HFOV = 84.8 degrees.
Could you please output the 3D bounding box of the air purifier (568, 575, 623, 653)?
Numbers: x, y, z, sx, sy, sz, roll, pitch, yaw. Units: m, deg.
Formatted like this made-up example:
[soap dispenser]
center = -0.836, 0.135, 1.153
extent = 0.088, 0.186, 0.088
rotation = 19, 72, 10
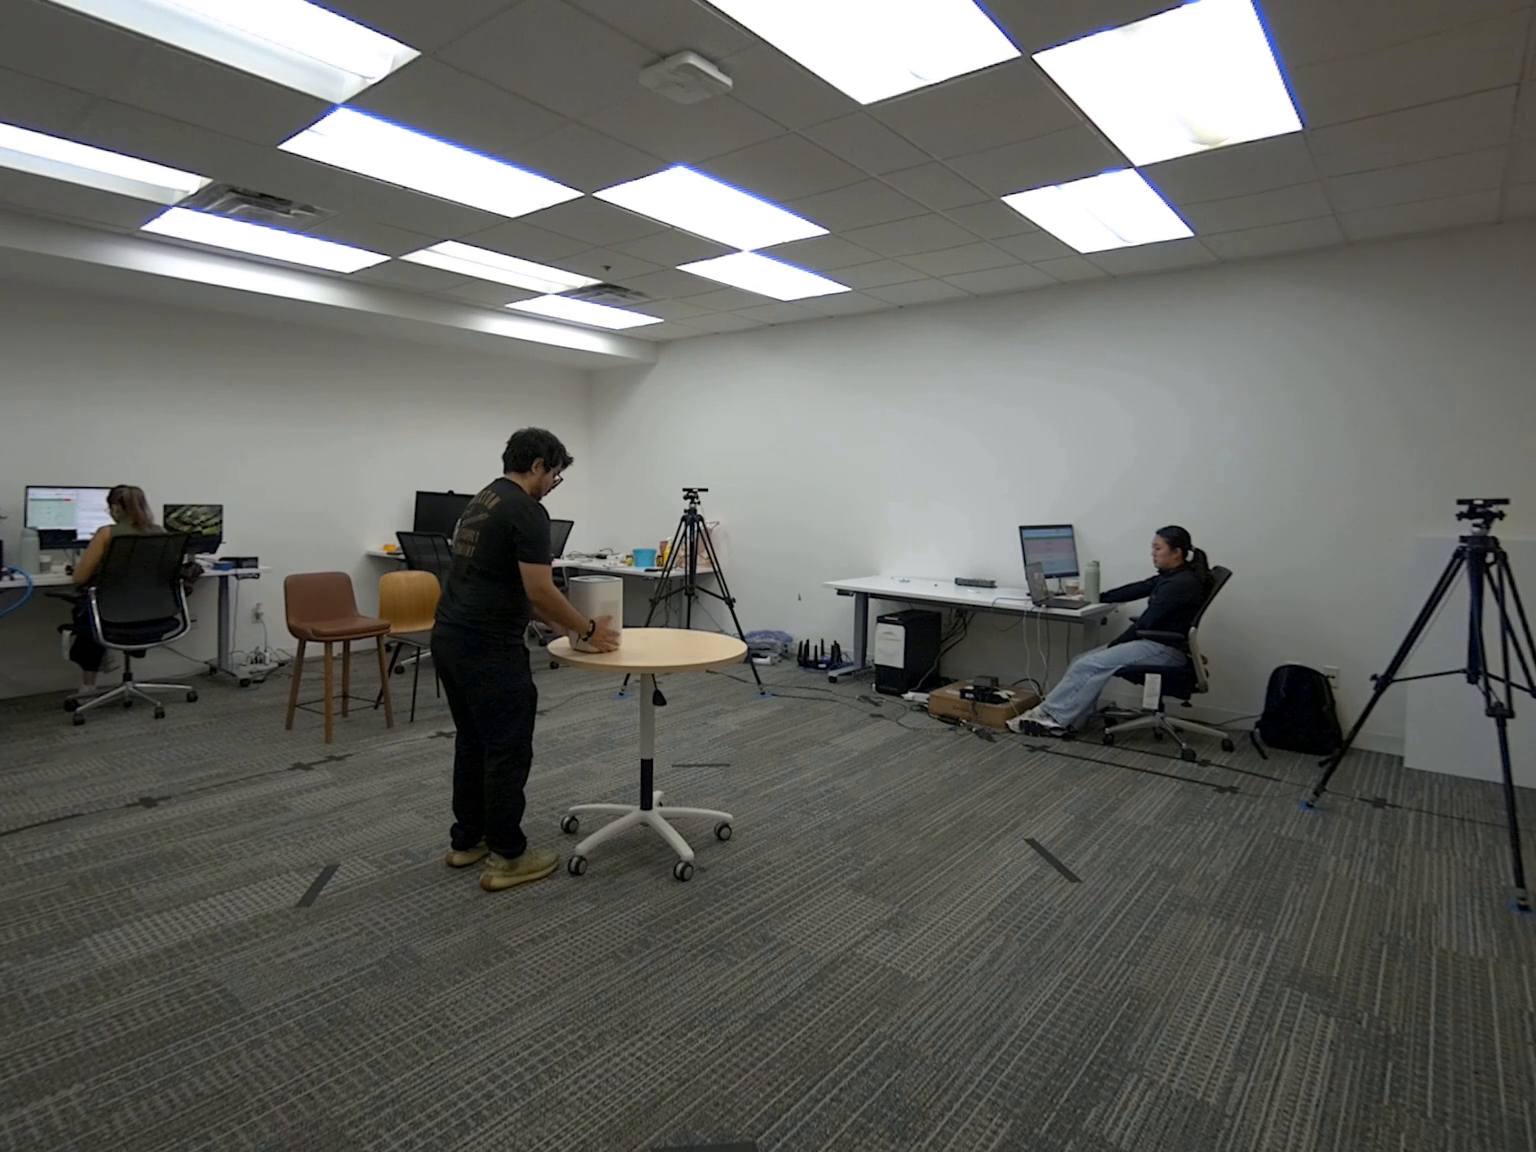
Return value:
[air purifier]
center = -0.666, 0.141, 3.193
extent = 0.176, 0.265, 0.167
rotation = 3, 4, 35
